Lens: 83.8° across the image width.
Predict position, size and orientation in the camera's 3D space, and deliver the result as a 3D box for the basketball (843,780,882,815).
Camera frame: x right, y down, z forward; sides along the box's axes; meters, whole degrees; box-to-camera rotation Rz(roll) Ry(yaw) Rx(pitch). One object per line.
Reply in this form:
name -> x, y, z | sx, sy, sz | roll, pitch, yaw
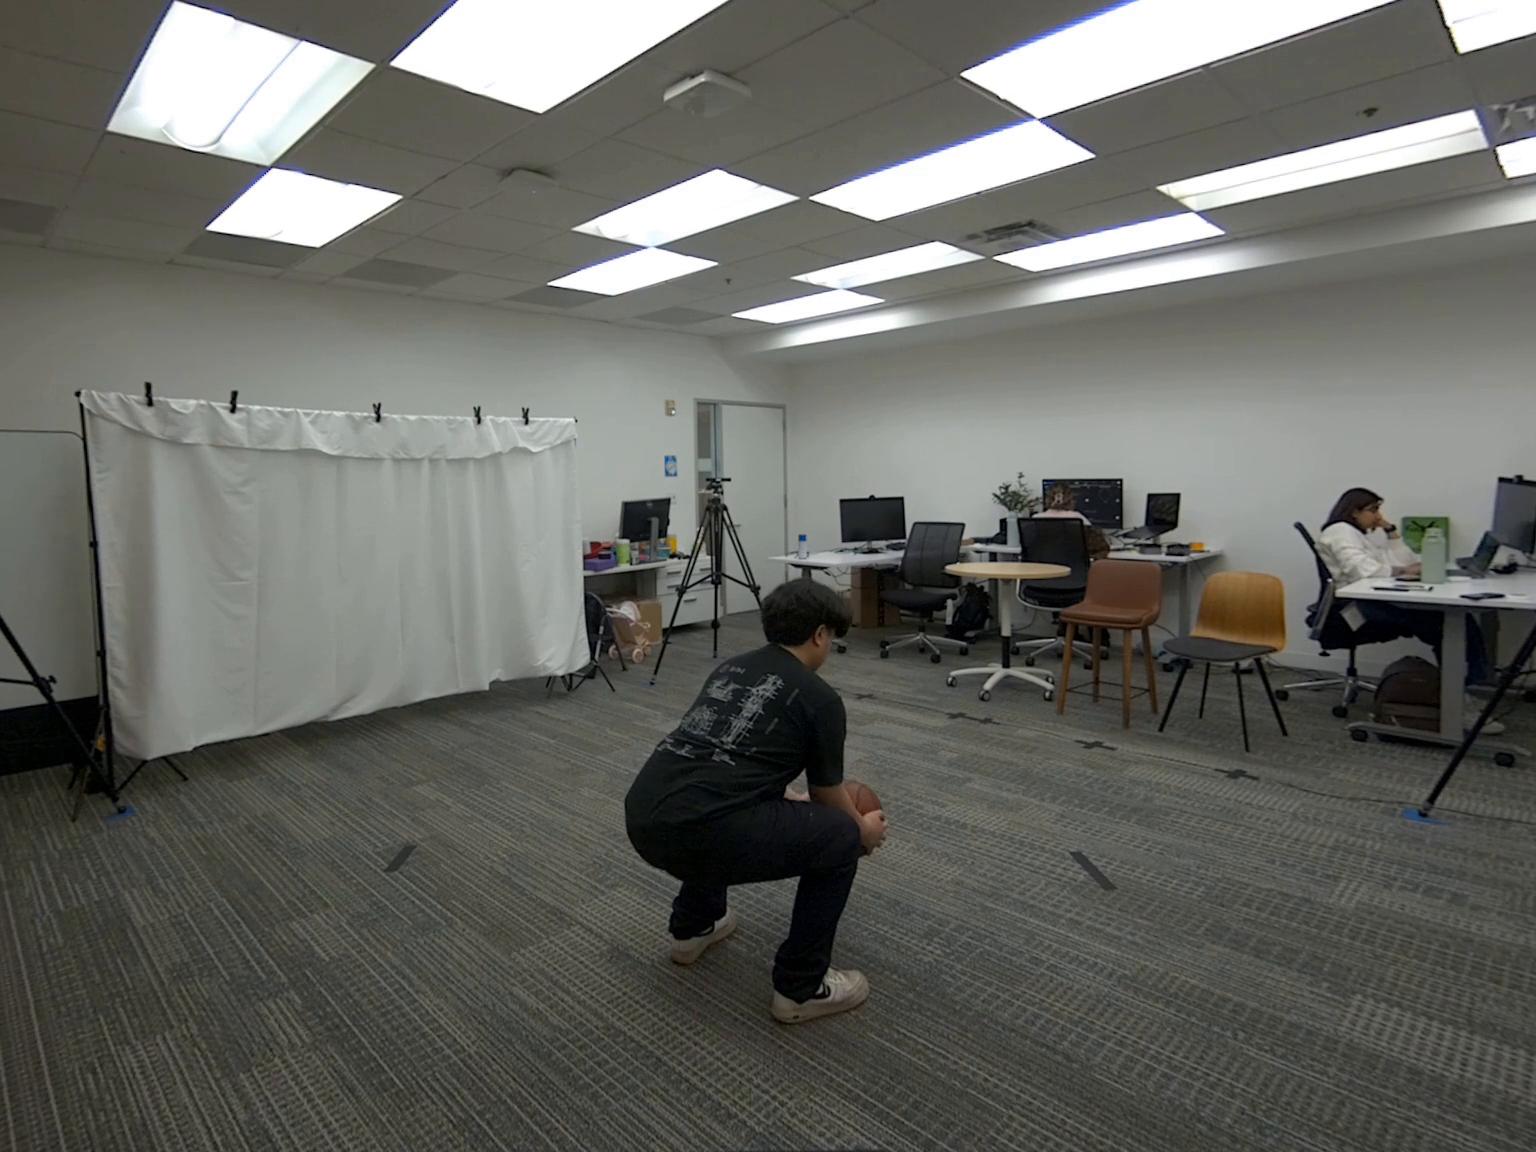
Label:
basketball -> 0.258, 0.760, 2.671 | 0.236, 0.235, 0.237 | -1, 5, -2
